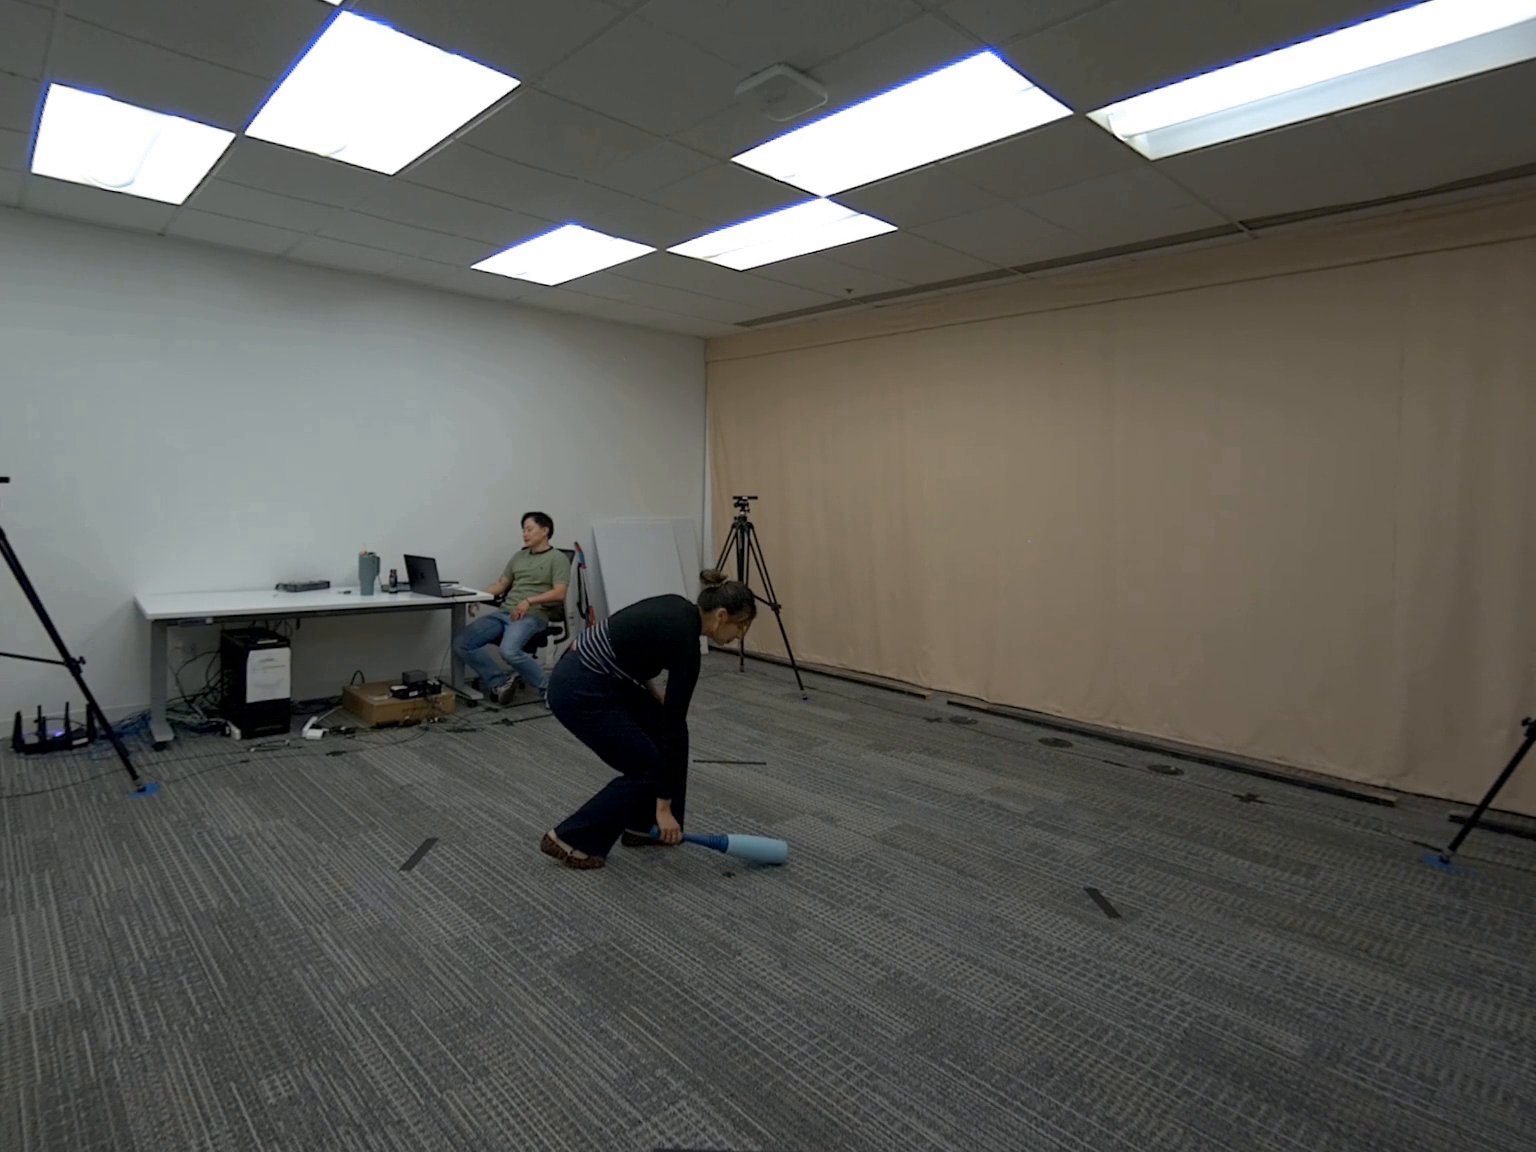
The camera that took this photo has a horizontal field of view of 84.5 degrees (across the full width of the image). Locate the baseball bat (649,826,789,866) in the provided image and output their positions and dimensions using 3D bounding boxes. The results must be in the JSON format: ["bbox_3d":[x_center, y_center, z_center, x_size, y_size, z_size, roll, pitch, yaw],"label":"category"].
[{"bbox_3d":[-0.187,0.997,3.130,0.536,0.089,0.090,13,1,-13],"label":"baseball bat"}]
